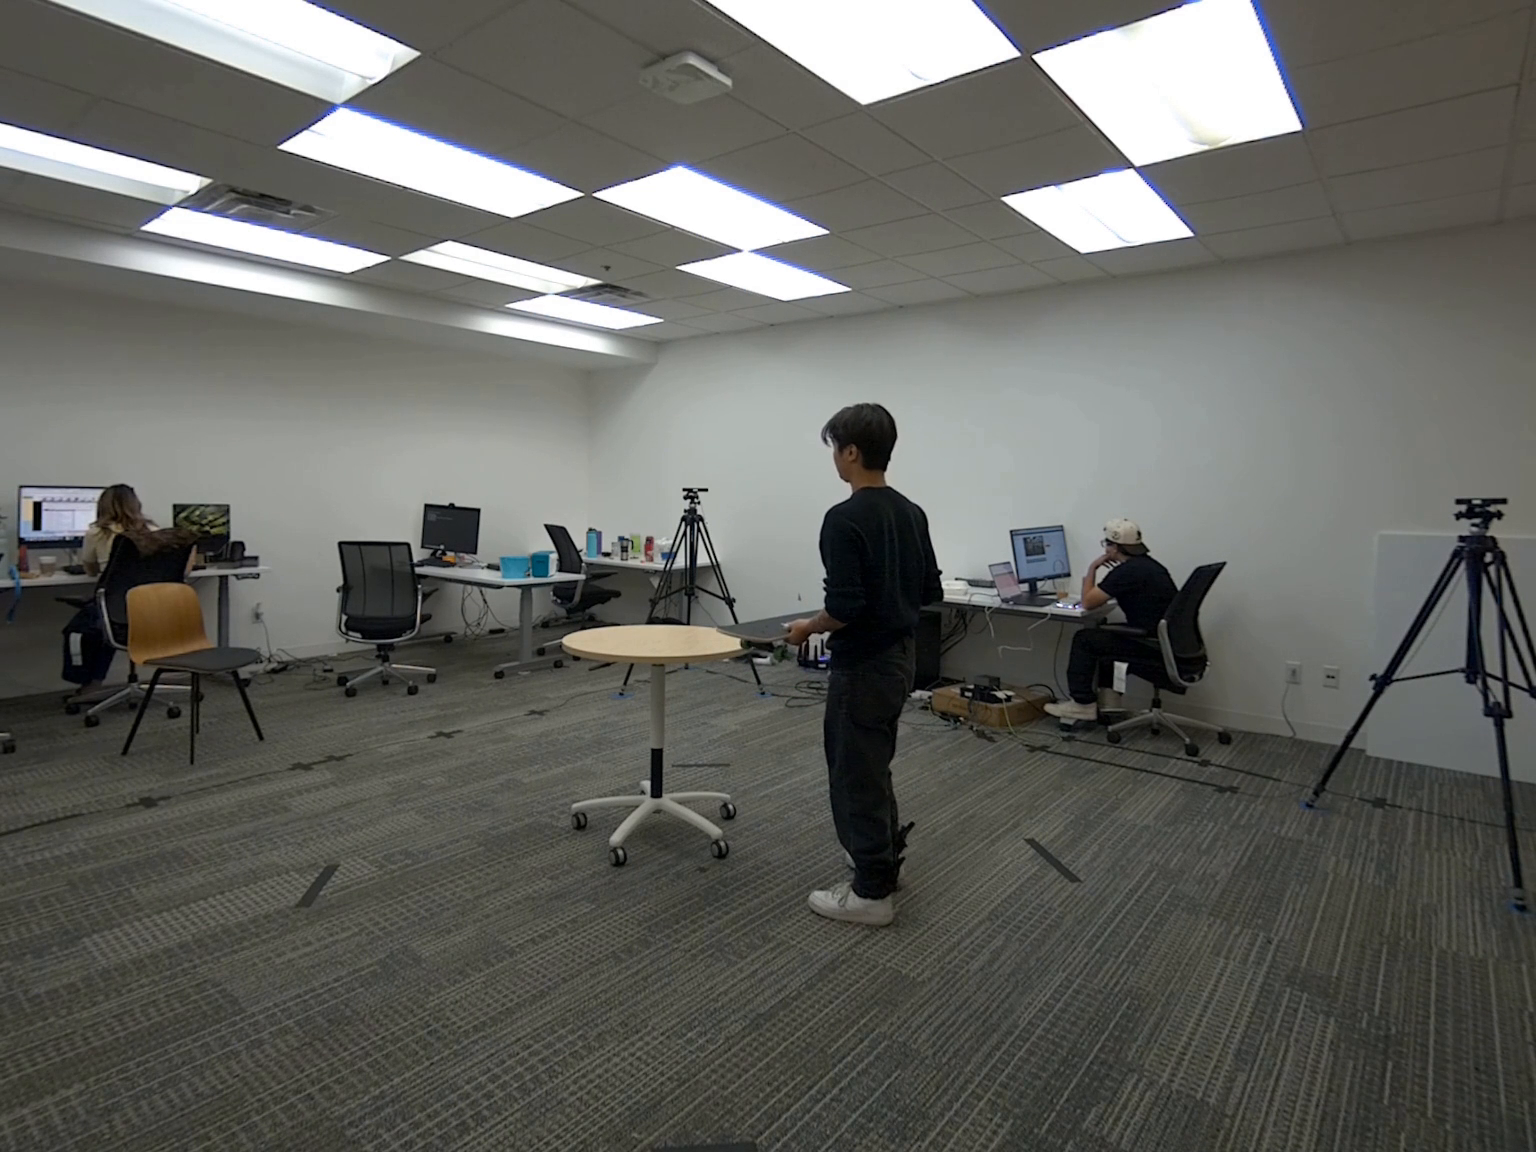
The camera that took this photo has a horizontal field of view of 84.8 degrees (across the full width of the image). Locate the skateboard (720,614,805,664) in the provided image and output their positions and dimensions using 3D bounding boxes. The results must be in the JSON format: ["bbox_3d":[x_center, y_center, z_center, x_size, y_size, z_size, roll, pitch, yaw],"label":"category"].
[{"bbox_3d":[0.116,0.198,2.993,0.201,0.109,0.763,13,14,42],"label":"skateboard"}]
